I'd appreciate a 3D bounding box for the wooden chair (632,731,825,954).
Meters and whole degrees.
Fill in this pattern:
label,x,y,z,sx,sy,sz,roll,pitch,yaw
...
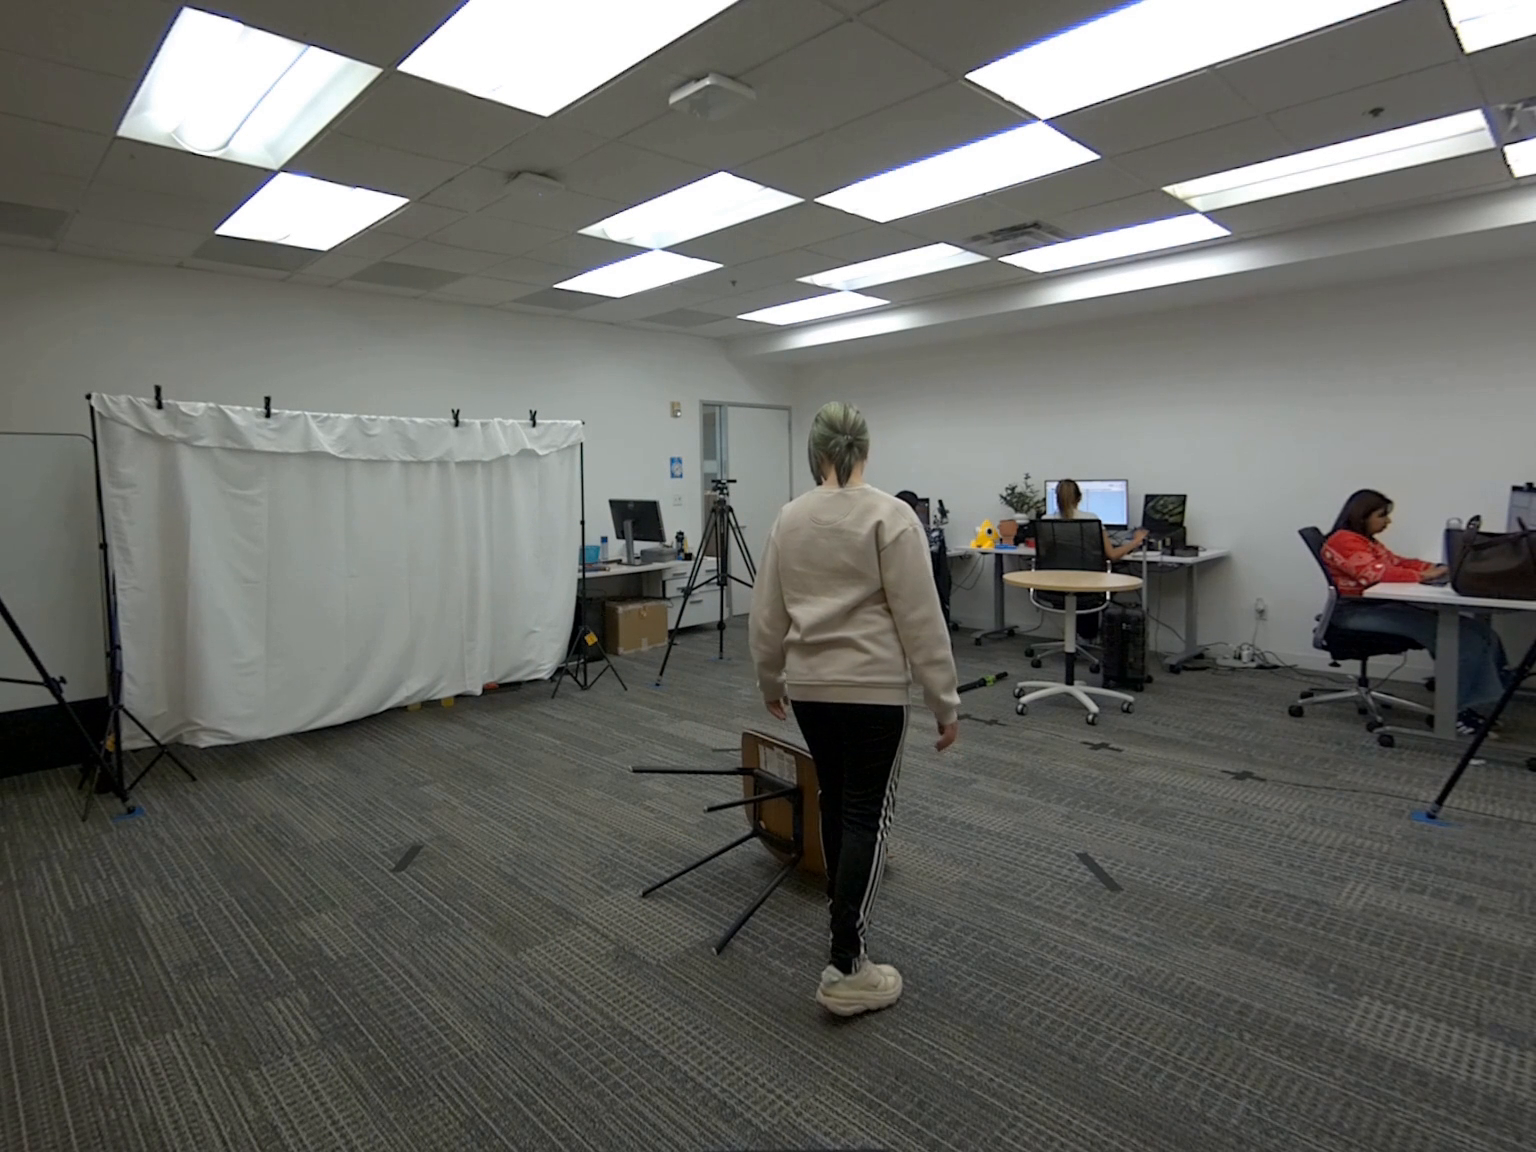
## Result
label,x,y,z,sx,sy,sz,roll,pitch,yaw
wooden chair,0.027,0.809,2.919,0.854,0.521,0.492,-4,5,-37
